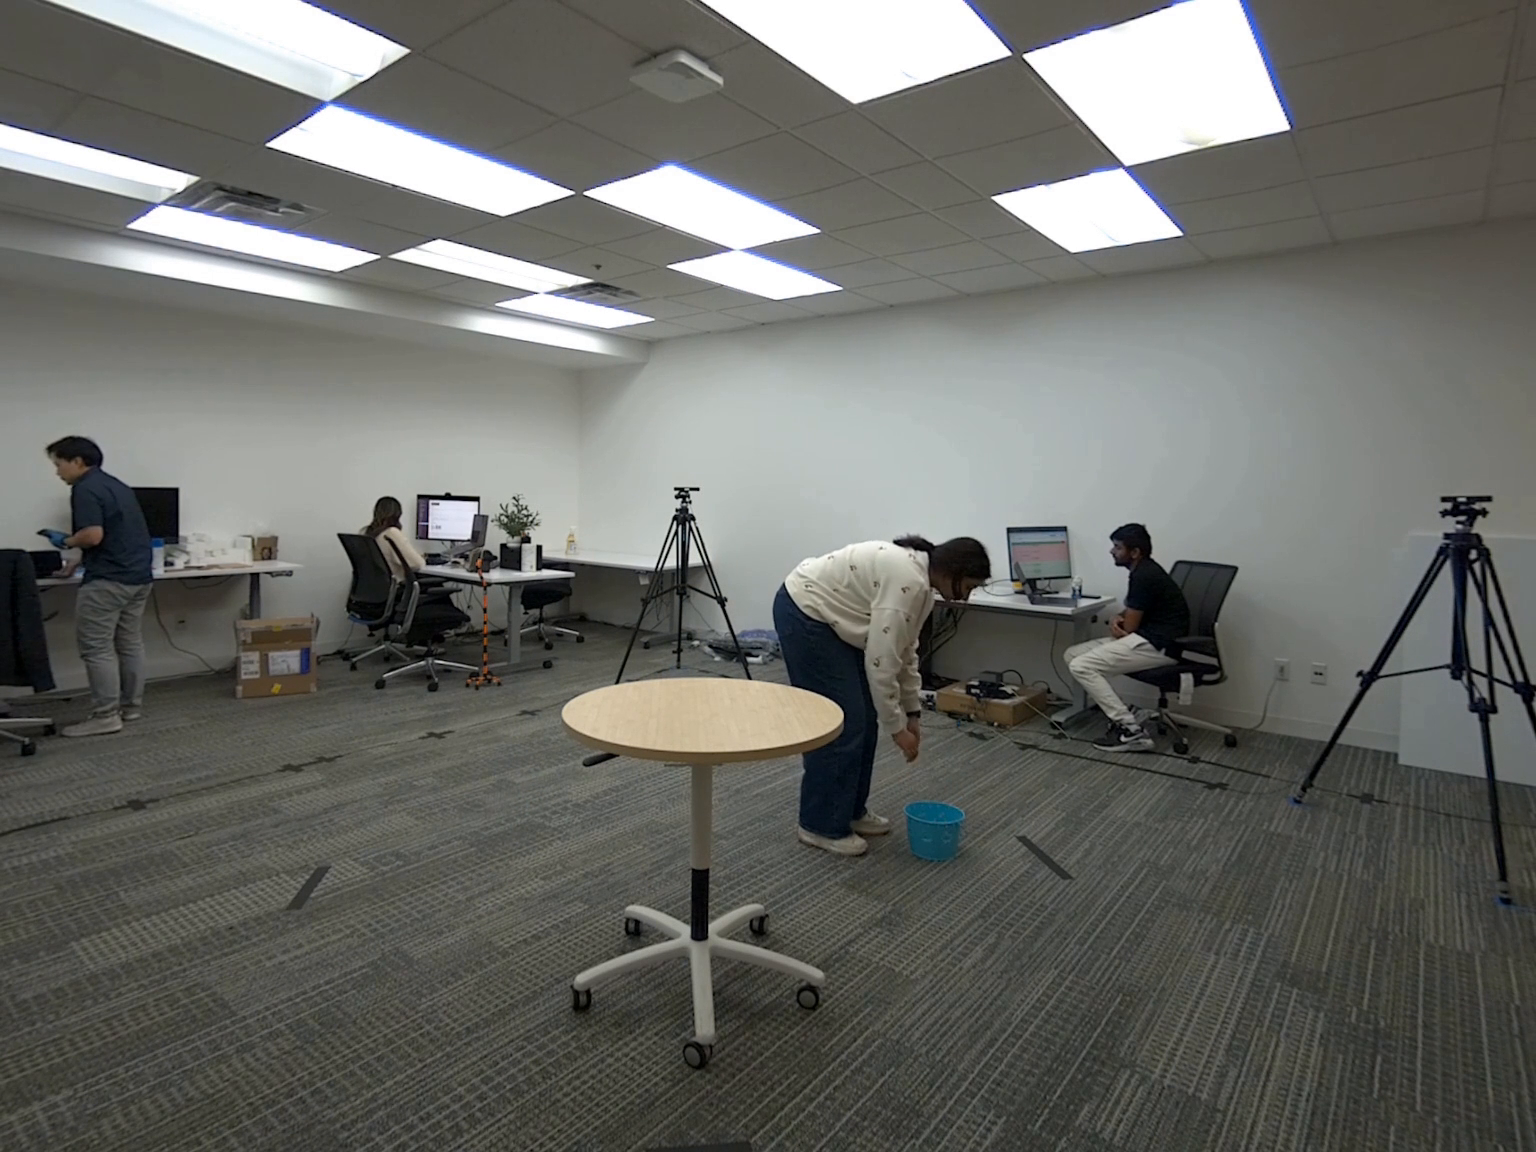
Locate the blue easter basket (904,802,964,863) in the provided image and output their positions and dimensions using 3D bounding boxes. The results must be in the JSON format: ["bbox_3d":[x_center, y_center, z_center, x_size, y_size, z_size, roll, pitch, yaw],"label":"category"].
[{"bbox_3d":[0.646,0.990,3.309,0.243,0.155,0.245,1,4,-2],"label":"blue easter basket"}]
